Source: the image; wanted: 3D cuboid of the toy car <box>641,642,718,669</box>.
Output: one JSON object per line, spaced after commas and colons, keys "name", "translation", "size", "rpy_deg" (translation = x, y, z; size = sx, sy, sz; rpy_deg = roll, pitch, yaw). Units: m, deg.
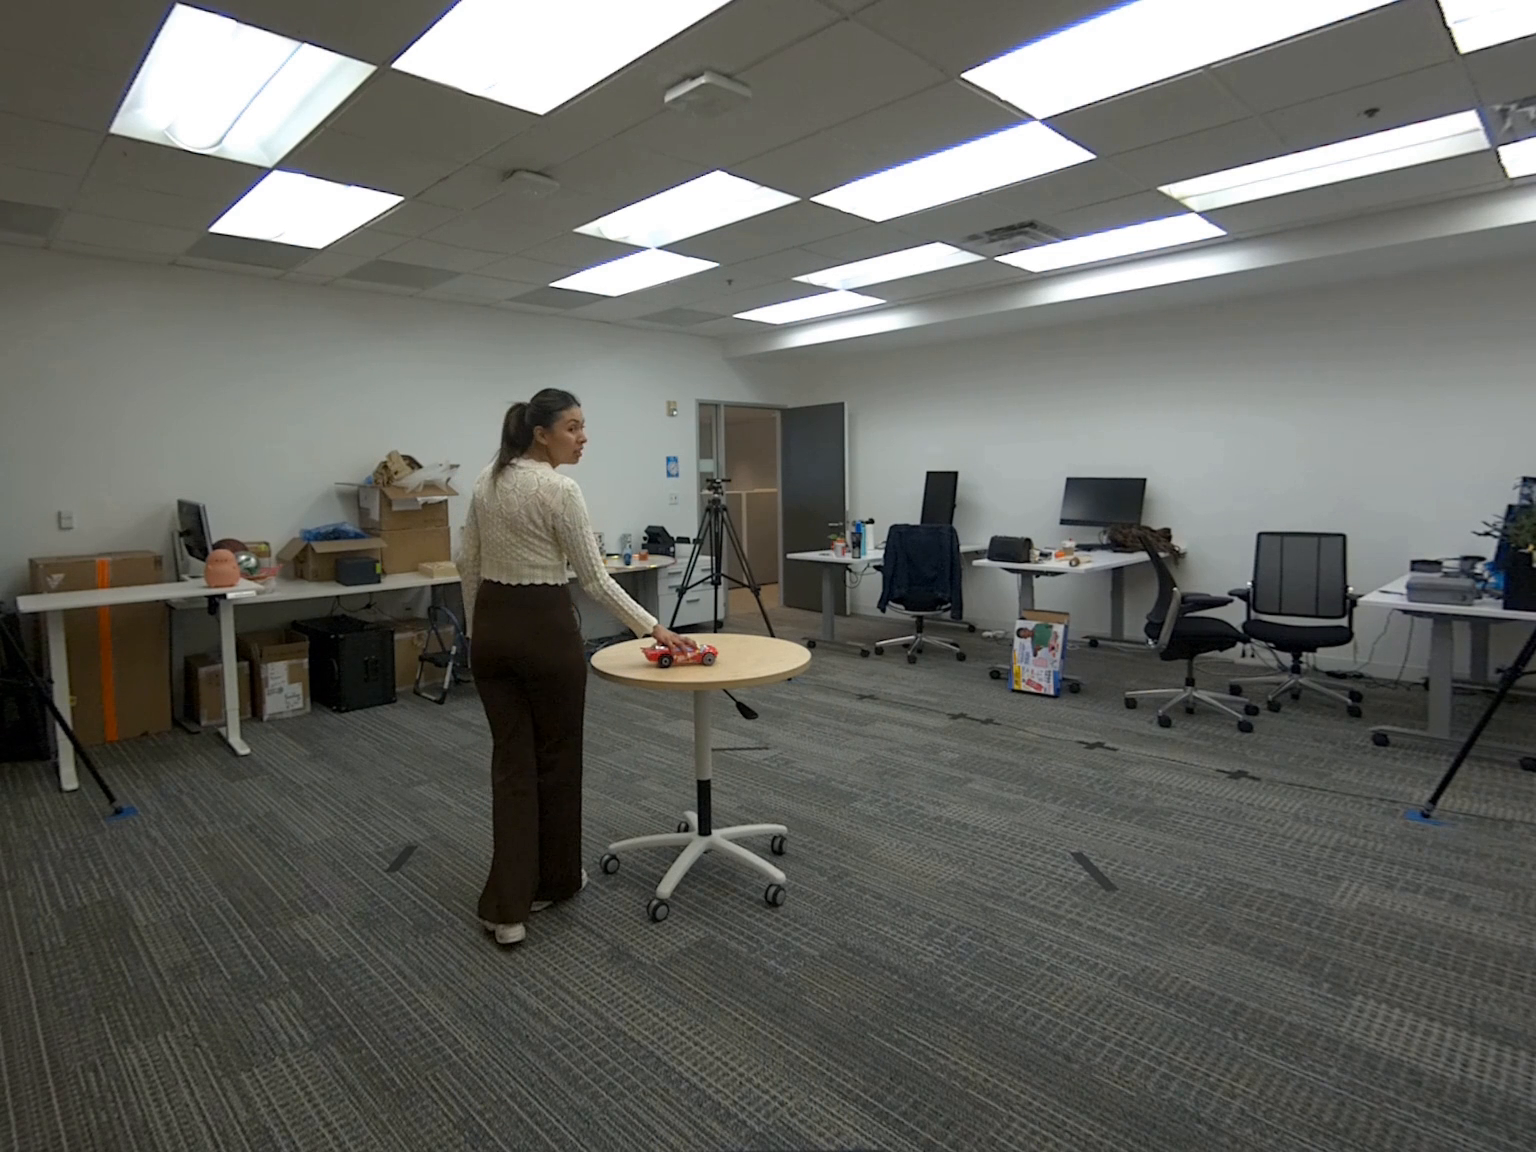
{"name": "toy car", "translation": [-0.297, 0.263, 2.855], "size": [0.251, 0.083, 0.132], "rpy_deg": [8, 4, -12]}
